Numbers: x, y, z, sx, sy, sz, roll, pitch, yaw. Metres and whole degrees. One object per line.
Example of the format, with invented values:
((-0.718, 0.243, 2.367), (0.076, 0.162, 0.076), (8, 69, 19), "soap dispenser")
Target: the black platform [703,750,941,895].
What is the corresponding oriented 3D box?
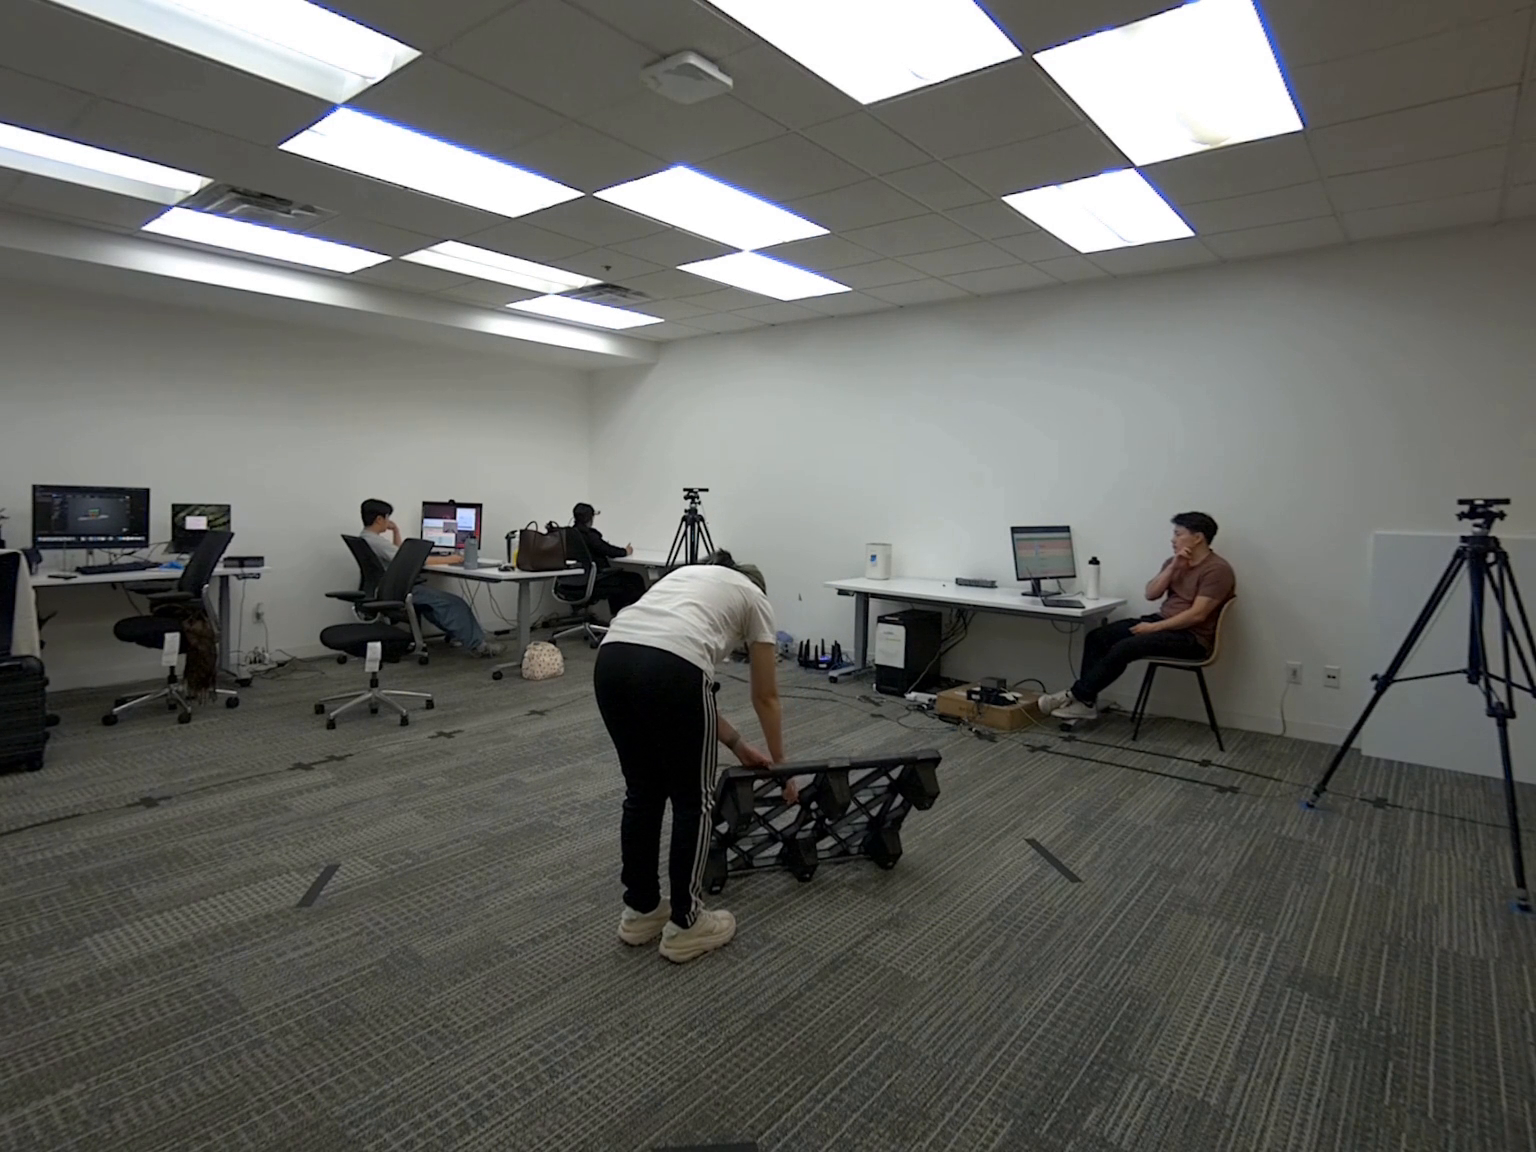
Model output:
((0.166, 0.859, 2.945), (0.790, 0.594, 0.149), (0, 41, -20), "black platform")
